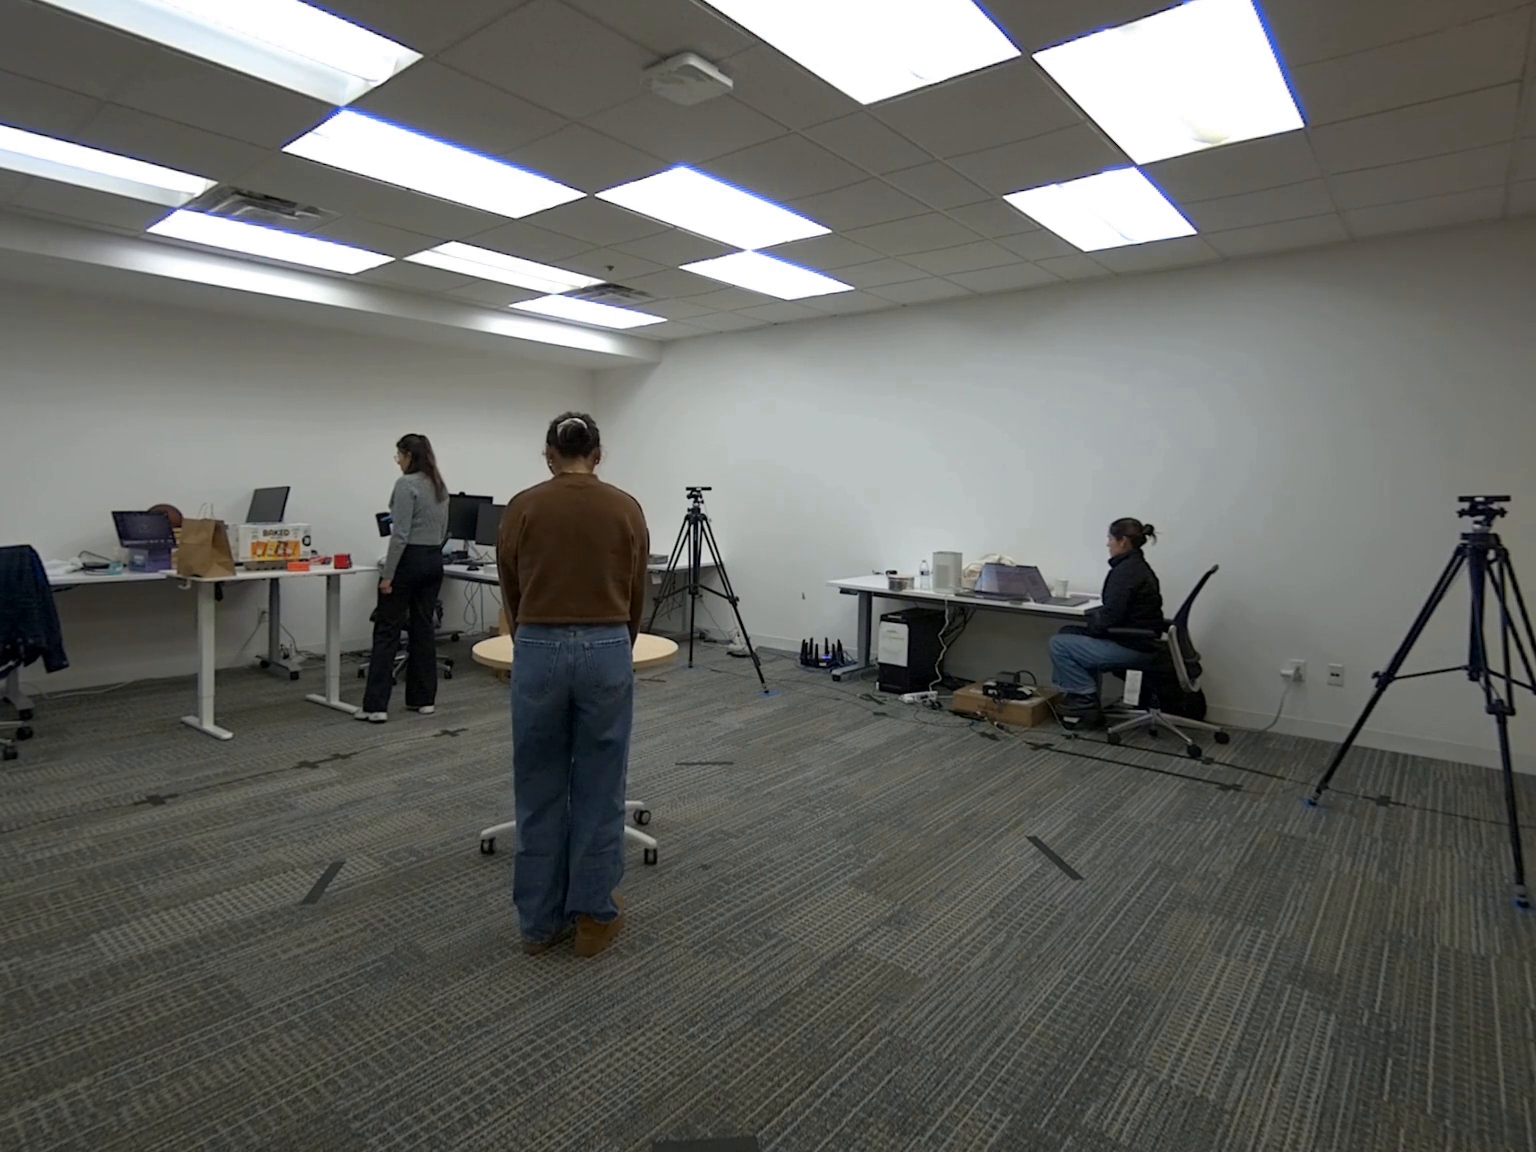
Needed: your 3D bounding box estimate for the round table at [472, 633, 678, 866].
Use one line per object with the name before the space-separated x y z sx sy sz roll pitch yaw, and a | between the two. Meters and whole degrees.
round table | -0.738 0.654 3.243 0.763 0.791 0.767 0 4 -2
